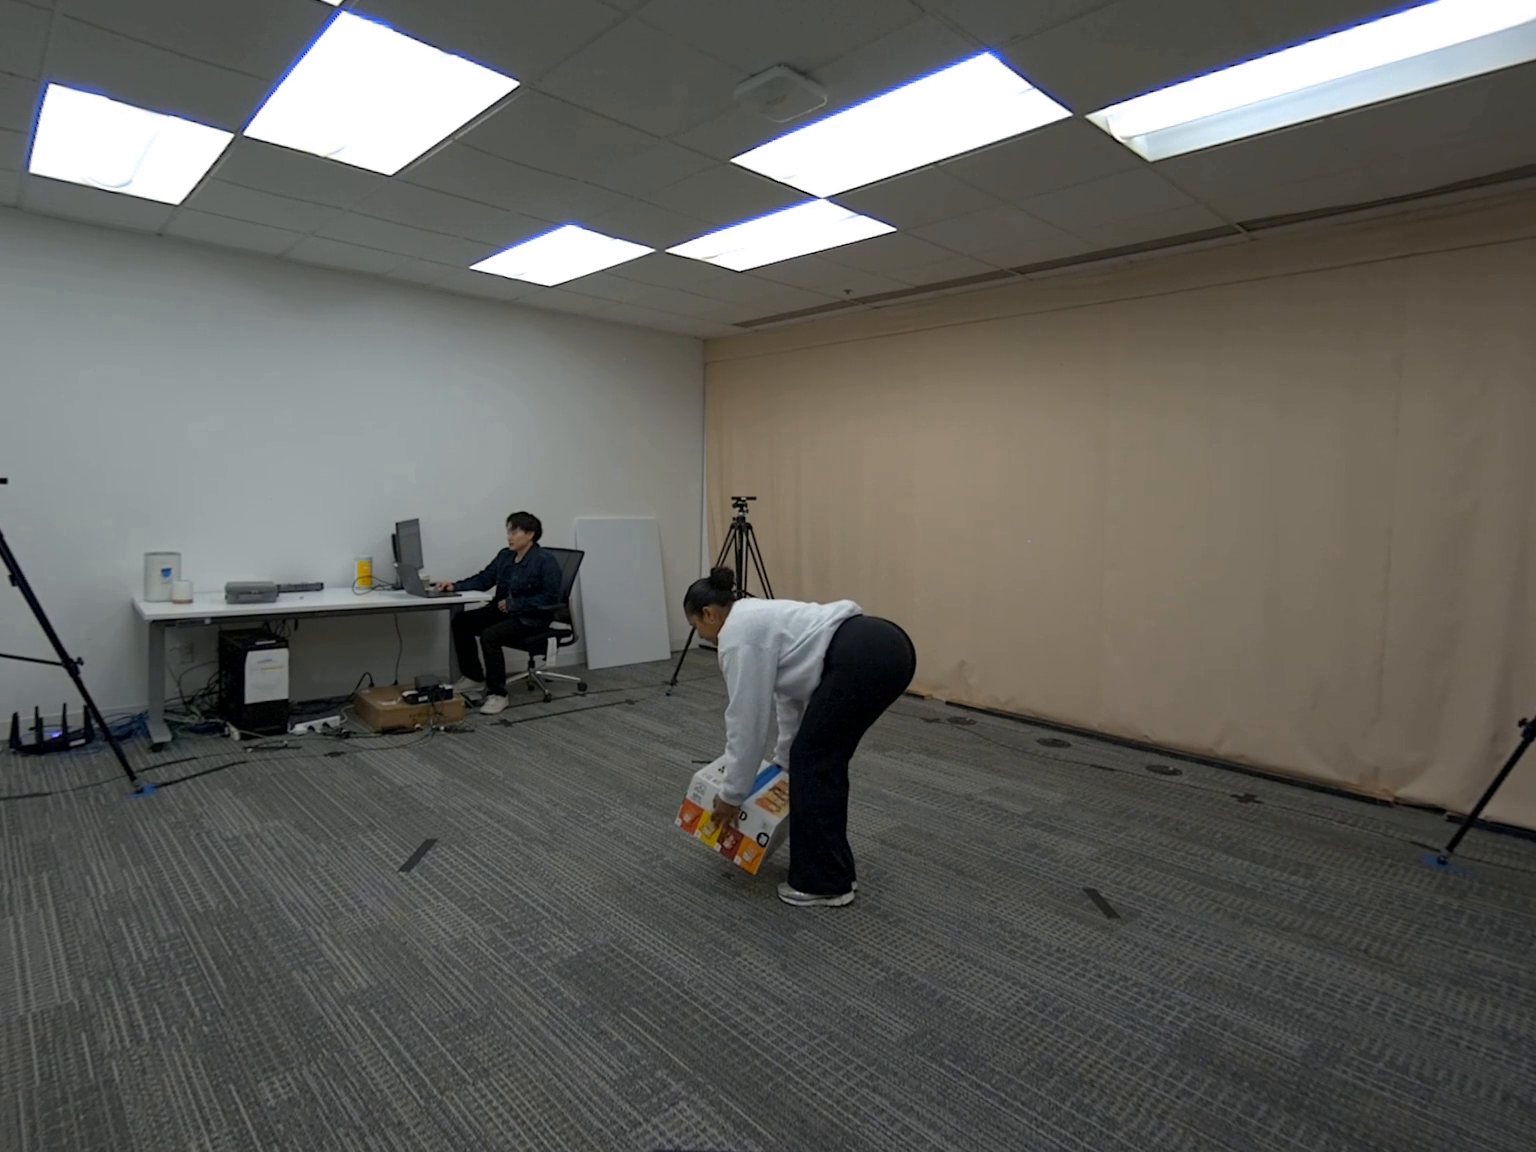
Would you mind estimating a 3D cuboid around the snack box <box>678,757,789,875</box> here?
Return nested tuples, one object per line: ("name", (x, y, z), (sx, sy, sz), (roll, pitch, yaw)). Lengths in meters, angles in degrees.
("snack box", (-0.086, 0.844, 3.104), (0.347, 0.204, 0.399), (26, 14, 19))
